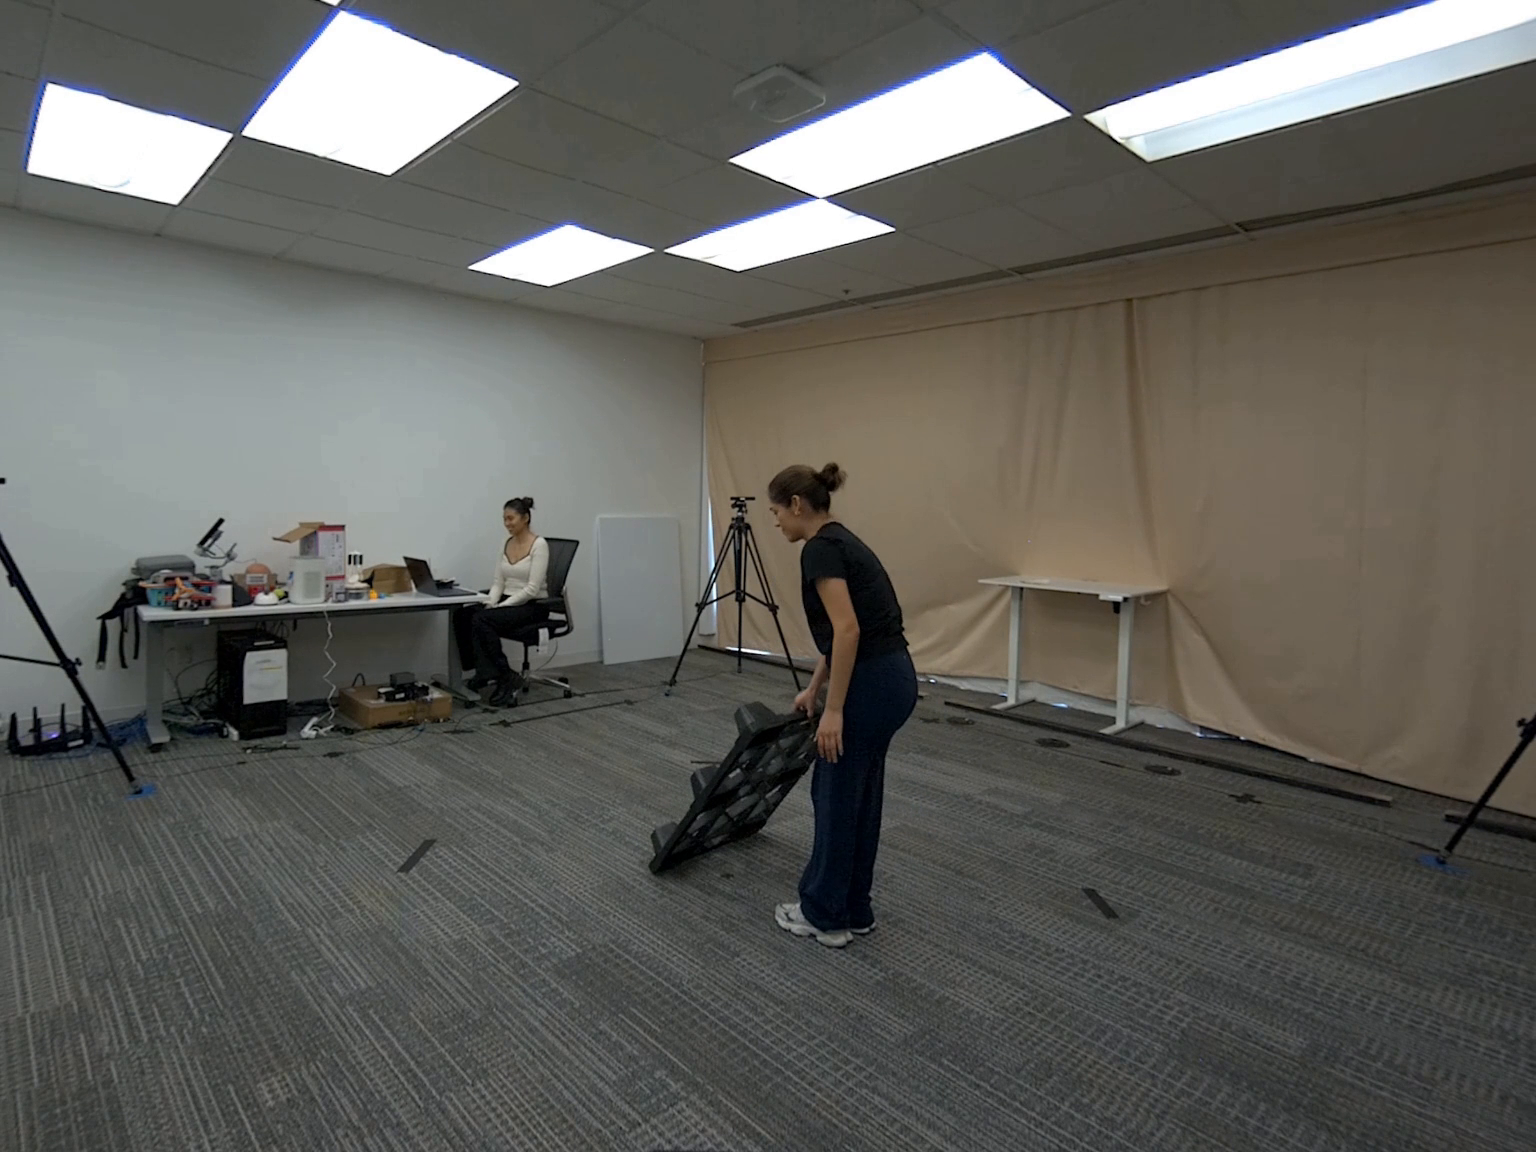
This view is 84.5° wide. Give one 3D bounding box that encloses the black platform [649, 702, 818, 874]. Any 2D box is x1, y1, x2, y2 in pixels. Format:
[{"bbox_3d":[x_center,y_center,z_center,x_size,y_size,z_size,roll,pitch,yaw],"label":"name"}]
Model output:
[{"bbox_3d":[-0.083,0.749,3.137,0.591,0.801,0.147,-3,44,-49],"label":"black platform"}]
